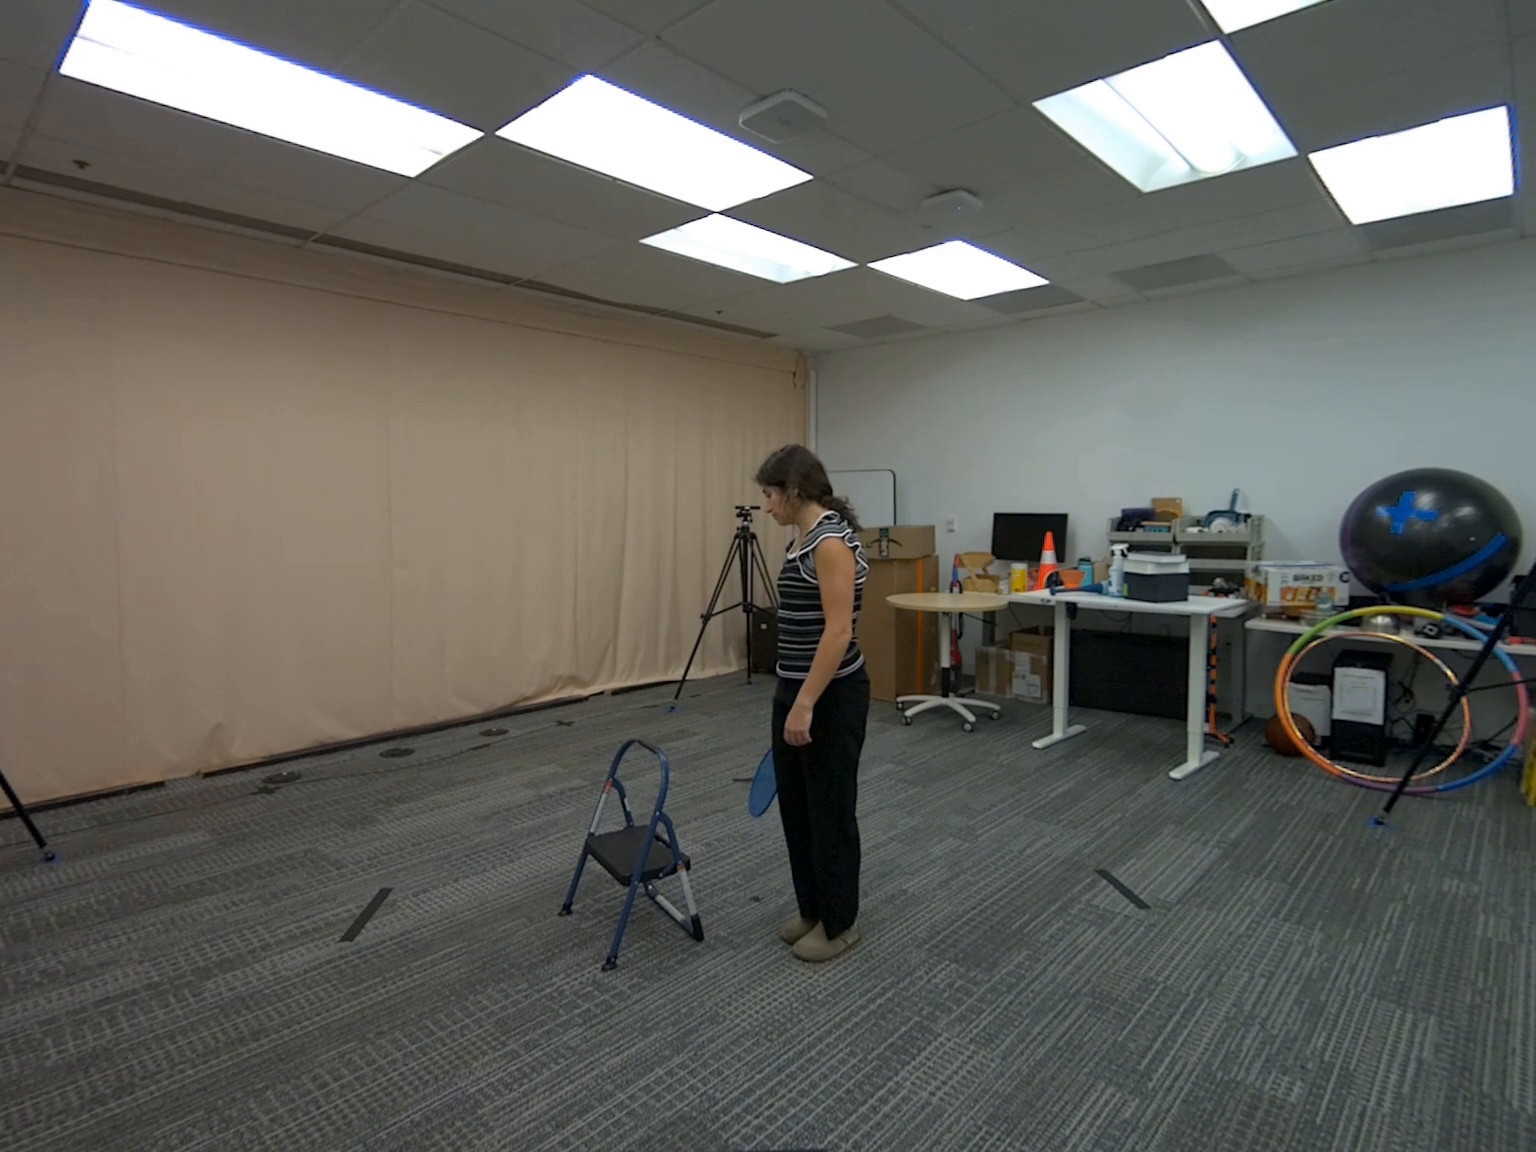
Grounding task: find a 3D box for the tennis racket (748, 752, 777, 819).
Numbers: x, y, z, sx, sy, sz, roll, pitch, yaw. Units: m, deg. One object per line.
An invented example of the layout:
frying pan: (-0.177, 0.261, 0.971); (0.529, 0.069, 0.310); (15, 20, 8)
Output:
tennis racket: (0.022, 0.631, 2.856); (0.031, 0.432, 0.218); (21, 11, -18)
